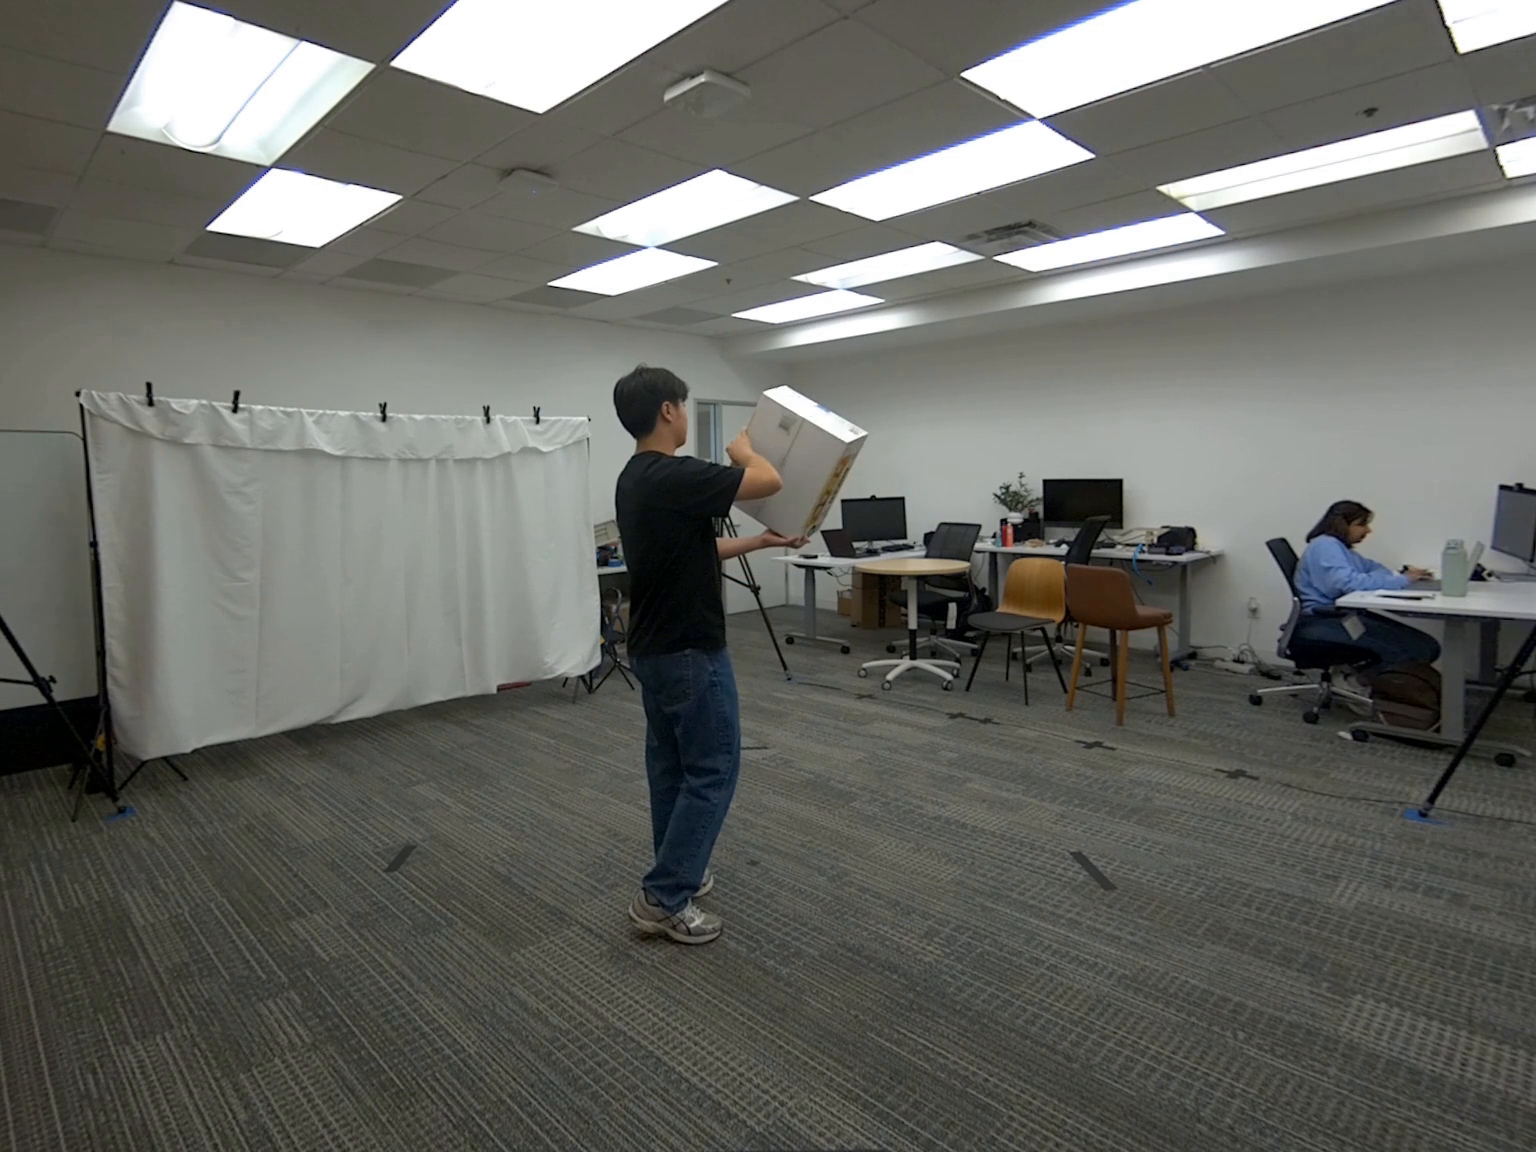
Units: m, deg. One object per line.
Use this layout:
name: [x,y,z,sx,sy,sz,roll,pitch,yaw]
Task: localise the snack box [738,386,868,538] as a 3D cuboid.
snack box: [0.080,-0.376,2.906,0.347,0.401,0.203,33,27,15]
